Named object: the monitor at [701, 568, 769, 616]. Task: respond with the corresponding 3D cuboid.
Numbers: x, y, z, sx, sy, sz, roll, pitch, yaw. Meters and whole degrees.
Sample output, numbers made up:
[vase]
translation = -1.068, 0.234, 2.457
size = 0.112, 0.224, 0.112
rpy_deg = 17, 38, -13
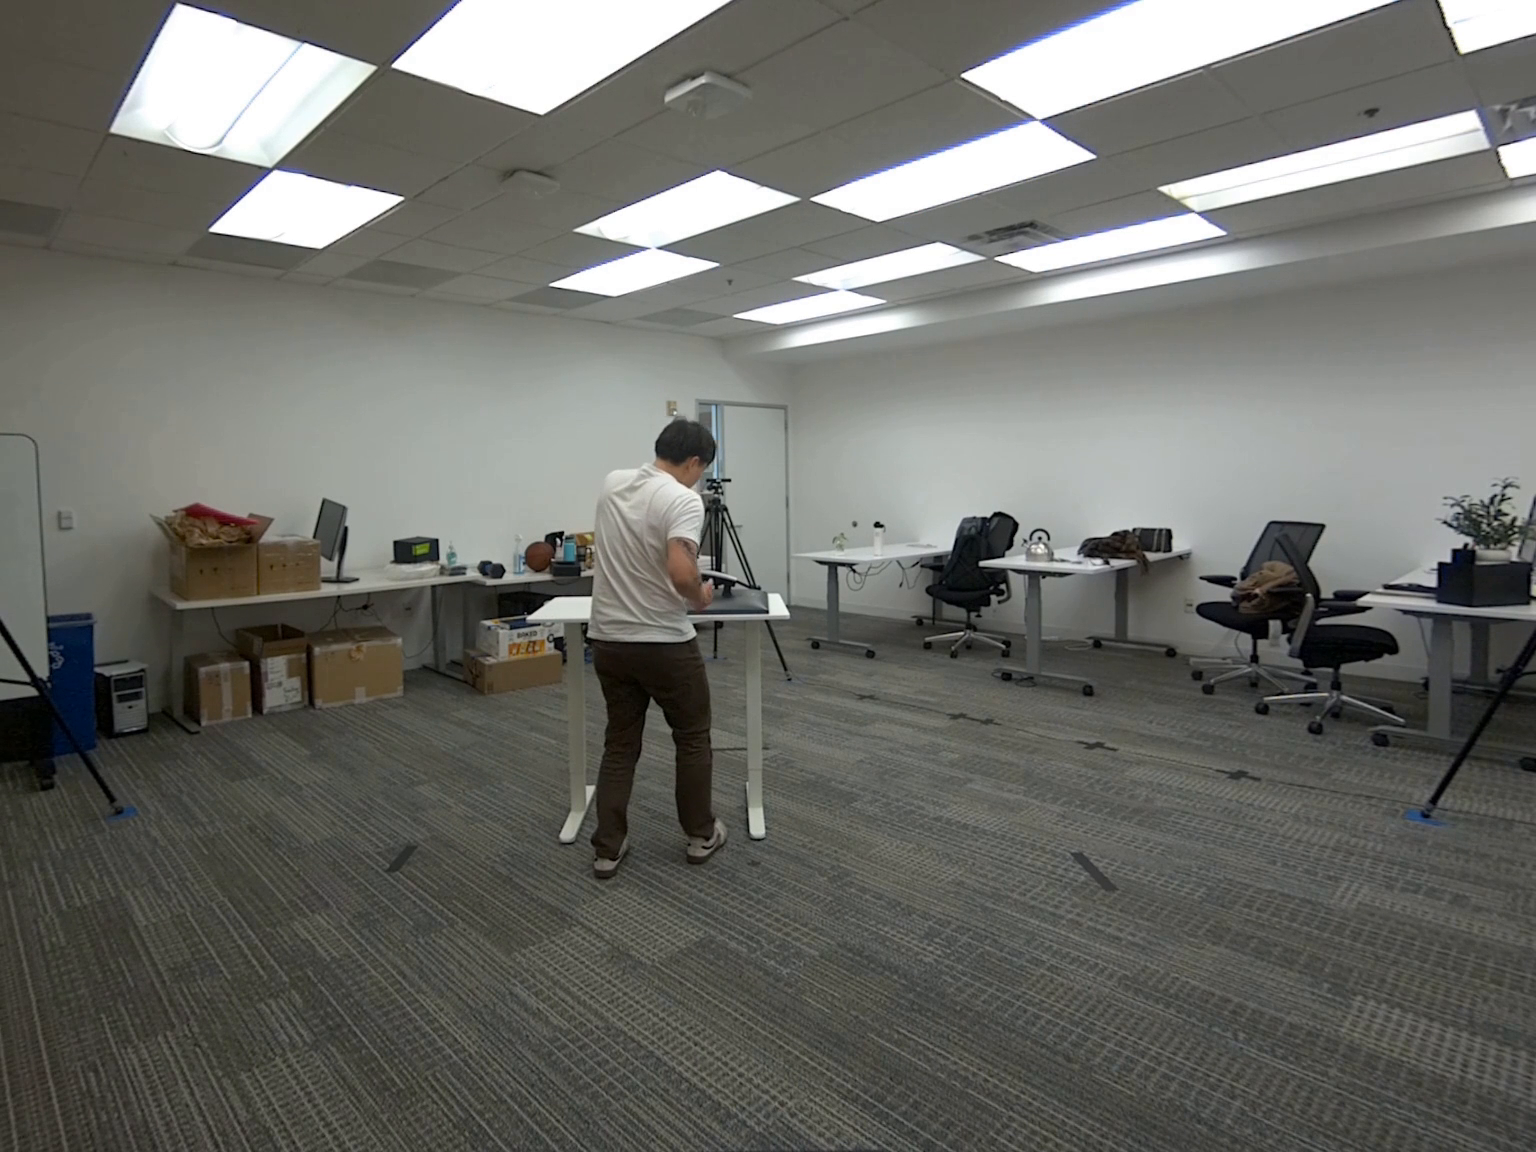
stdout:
[monitor]
translation = -0.247, 0.056, 3.538
size = 0.523, 0.186, 0.541
rpy_deg = 17, 6, -1
